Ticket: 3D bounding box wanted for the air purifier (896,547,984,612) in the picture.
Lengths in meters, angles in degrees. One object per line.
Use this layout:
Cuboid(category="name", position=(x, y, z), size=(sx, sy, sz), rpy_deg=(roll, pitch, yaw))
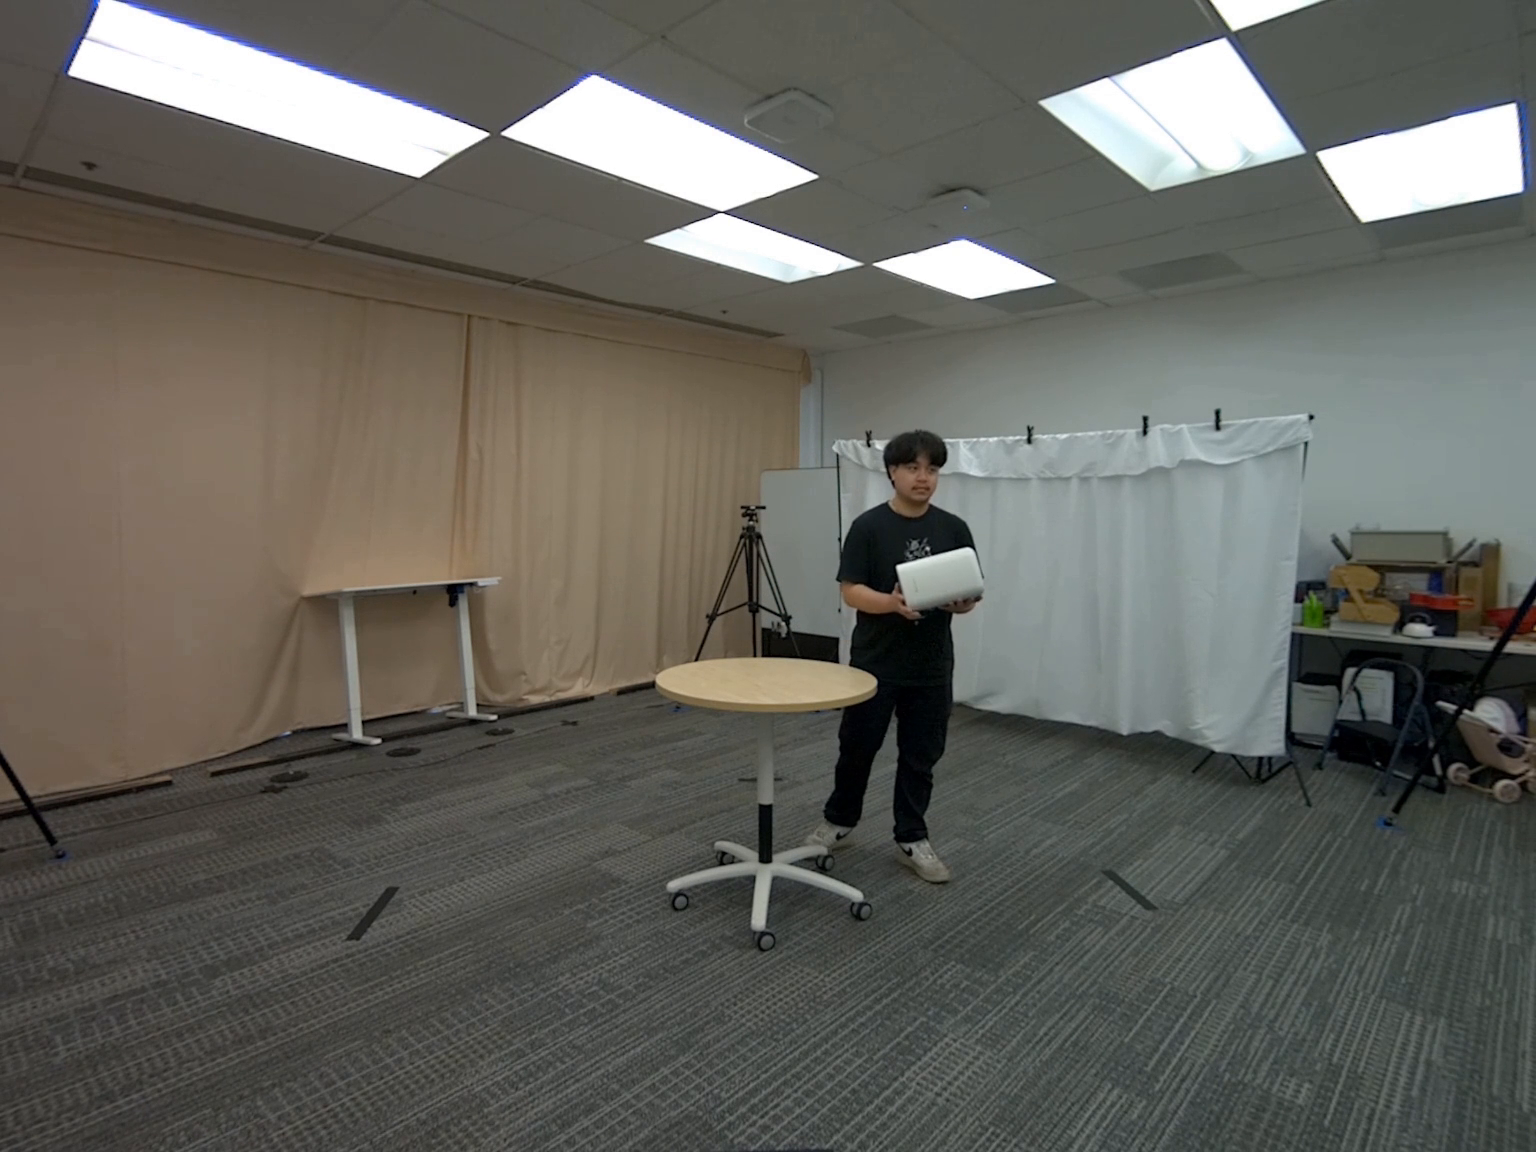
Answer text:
Cuboid(category="air purifier", position=(0.585, 0.010, 2.892), size=(0.268, 0.172, 0.169), rpy_deg=(-15, -8, 10))
